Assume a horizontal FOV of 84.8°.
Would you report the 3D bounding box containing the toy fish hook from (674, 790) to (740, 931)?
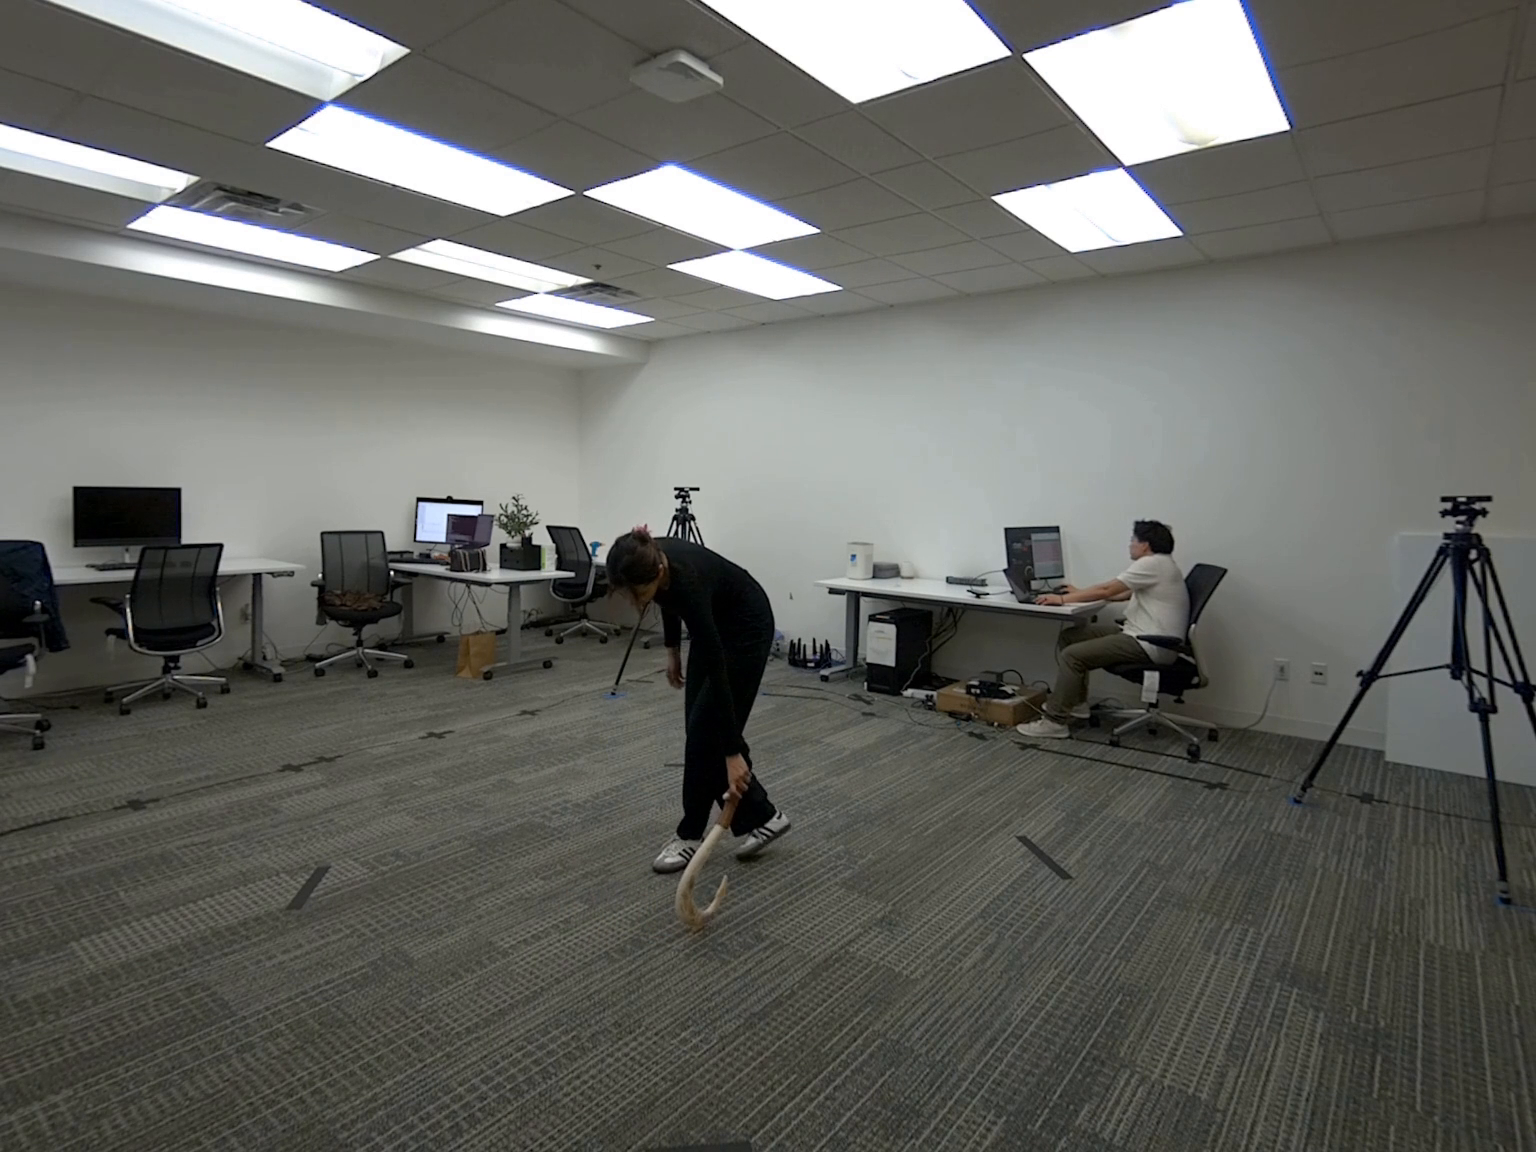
[{"bbox_3d":[-0.164,0.880,2.759,0.050,0.511,0.215,4,-35,34],"label":"toy fish hook"}]
